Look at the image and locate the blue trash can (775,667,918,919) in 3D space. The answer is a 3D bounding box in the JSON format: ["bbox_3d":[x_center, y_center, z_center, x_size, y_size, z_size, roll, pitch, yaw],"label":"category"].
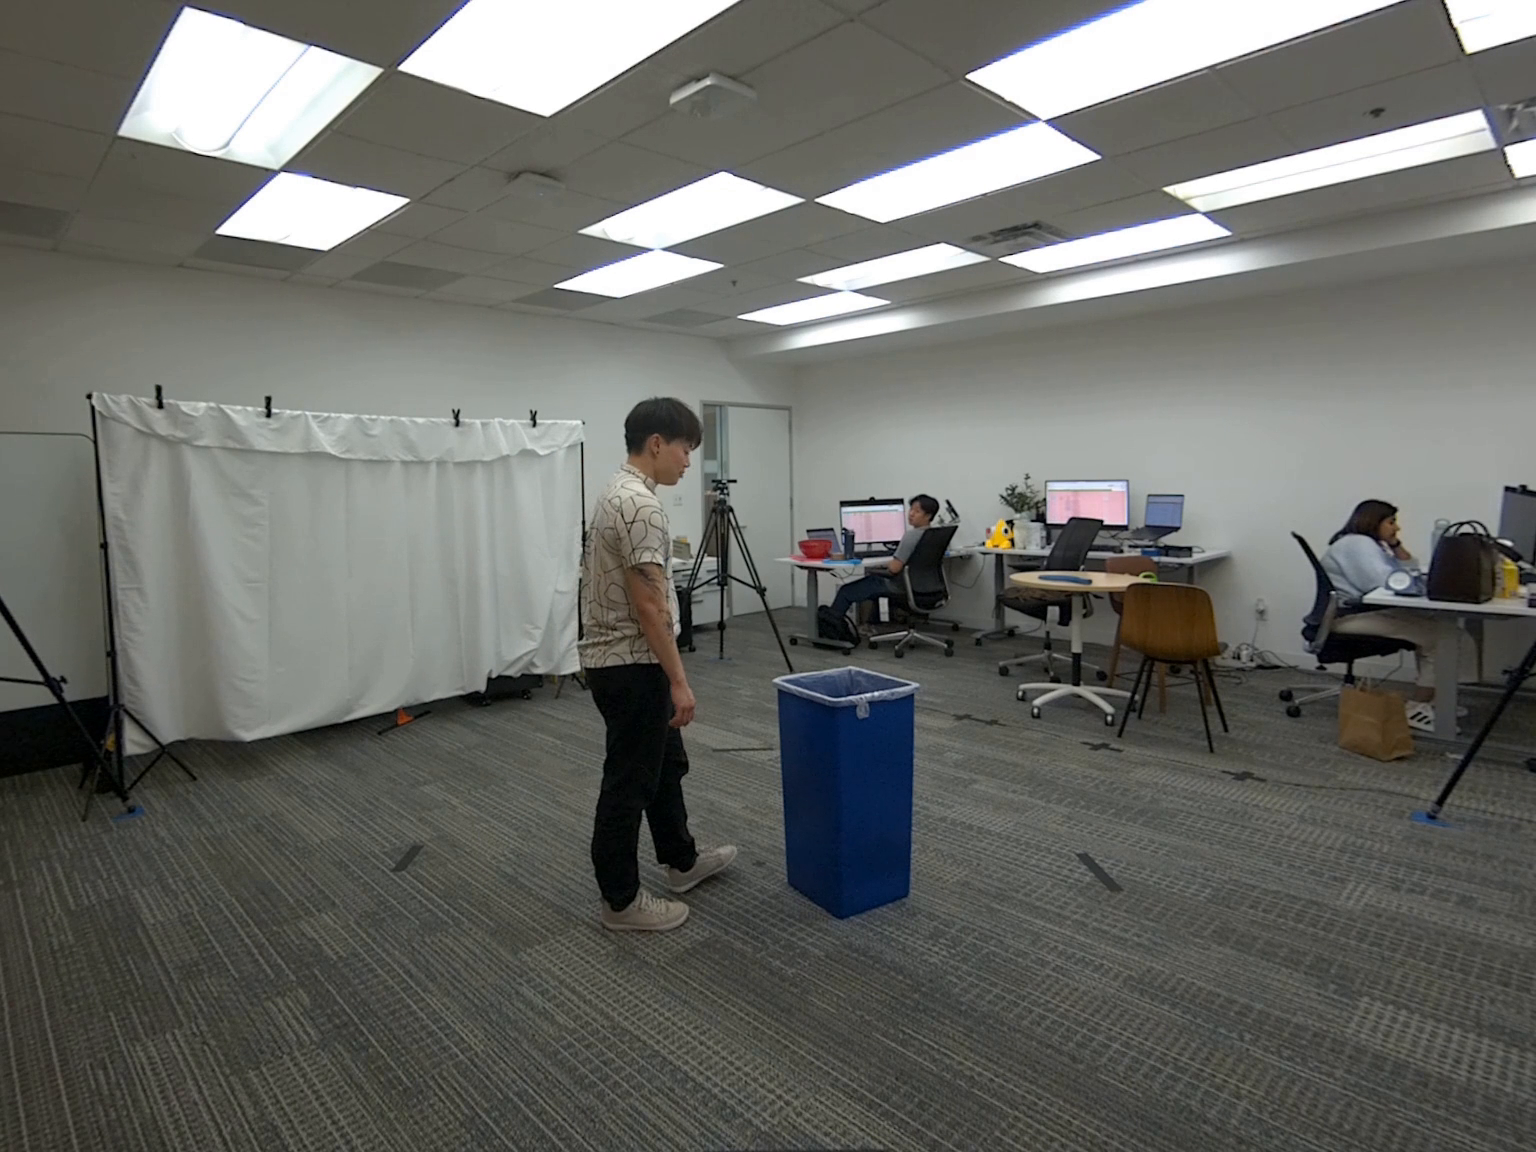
[{"bbox_3d":[0.262,0.709,2.891,0.369,0.711,0.385,-3,4,-32],"label":"blue trash can"}]
